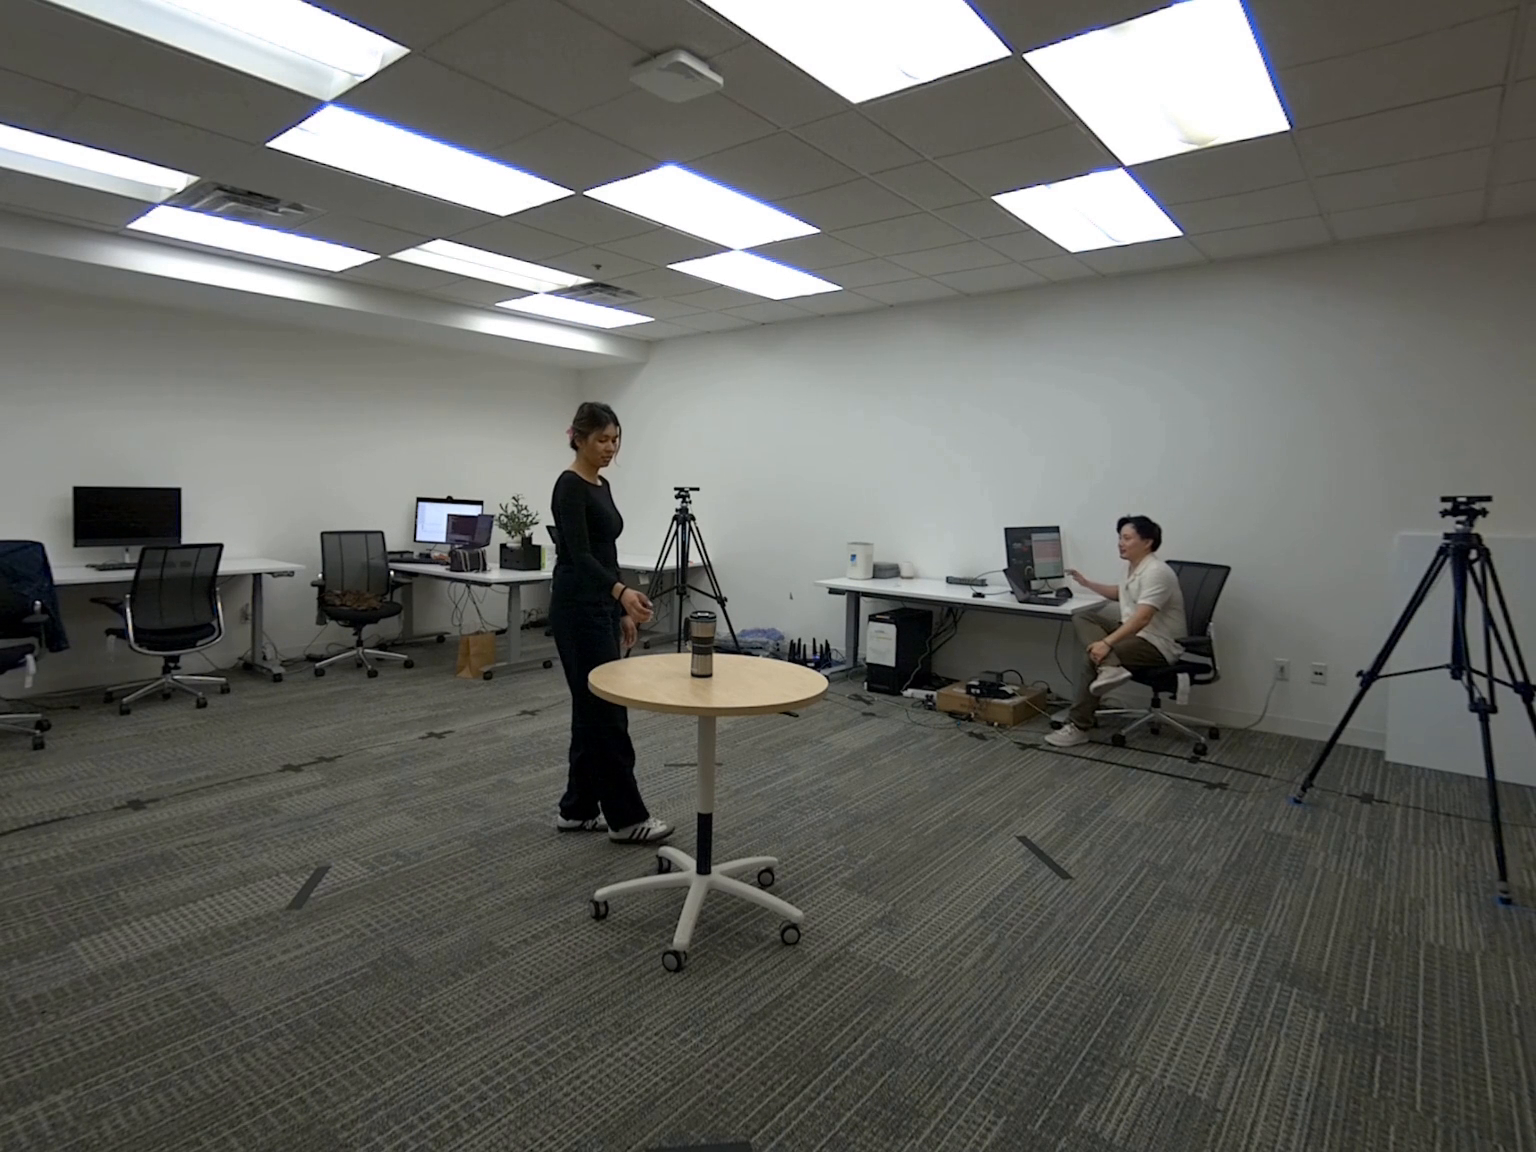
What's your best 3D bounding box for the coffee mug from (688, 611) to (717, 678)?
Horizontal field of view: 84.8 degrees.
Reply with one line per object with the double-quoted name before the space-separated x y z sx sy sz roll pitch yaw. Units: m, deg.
"coffee mug" -0.209 0.221 2.747 0.090 0.202 0.119 -2 5 35
